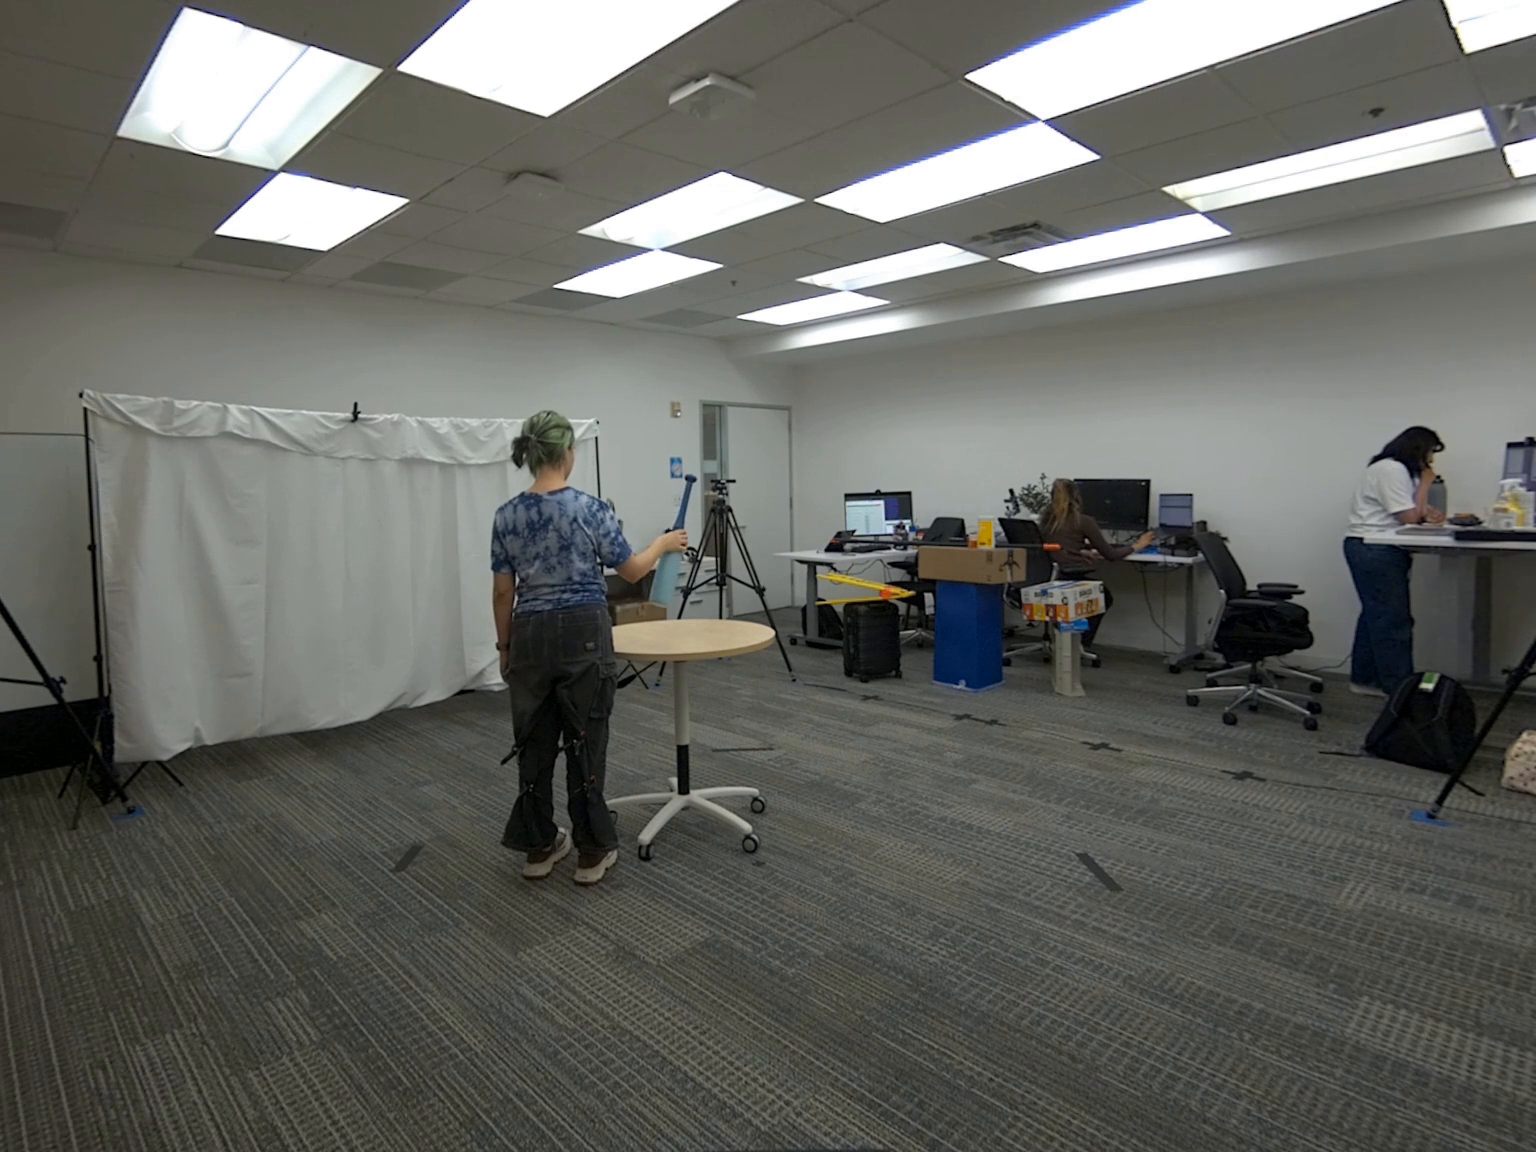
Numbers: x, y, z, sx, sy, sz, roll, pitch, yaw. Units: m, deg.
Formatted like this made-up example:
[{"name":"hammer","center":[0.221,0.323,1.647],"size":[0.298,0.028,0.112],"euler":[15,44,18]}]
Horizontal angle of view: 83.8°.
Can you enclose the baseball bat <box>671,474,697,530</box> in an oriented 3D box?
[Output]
[{"name":"baseball bat","center":[-0.368,-0.142,3.365],"size":[0.089,0.548,0.088],"euler":[12,-13,1]}]
